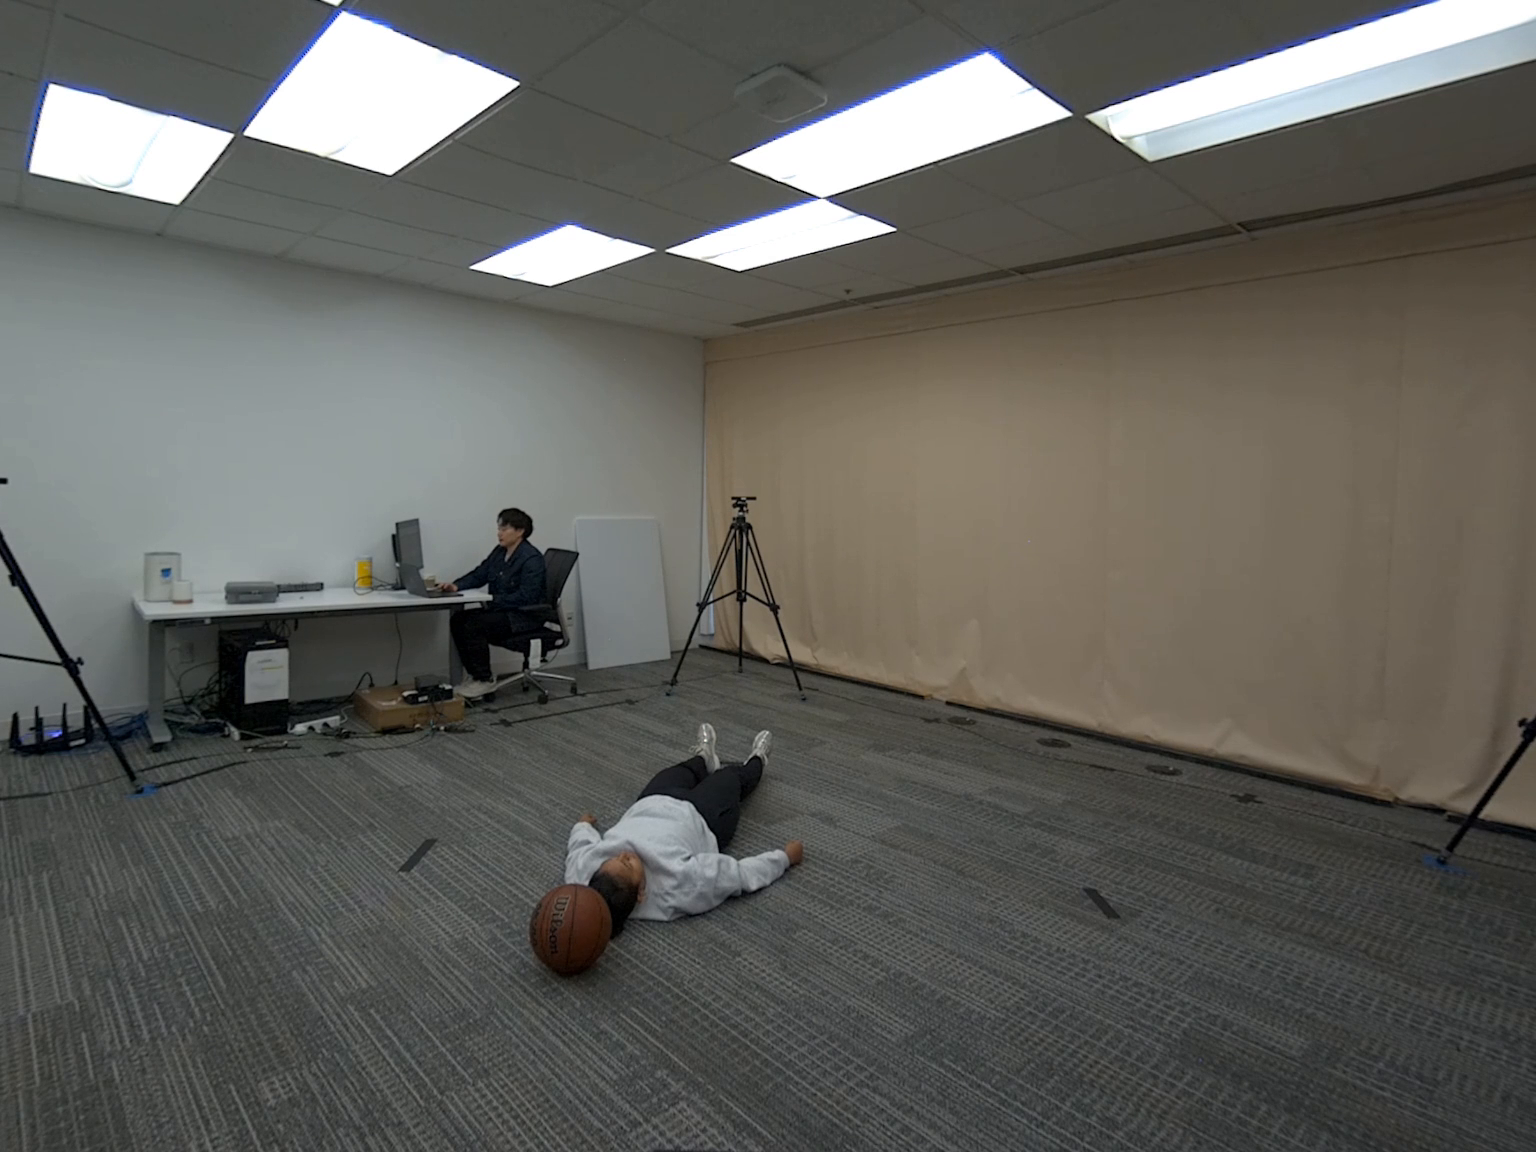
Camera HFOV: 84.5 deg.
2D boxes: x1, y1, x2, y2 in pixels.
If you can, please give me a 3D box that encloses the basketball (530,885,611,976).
[{"bbox_3d":[-0.586,1.036,2.471,0.235,0.235,0.237,4,7,-2],"label":"basketball"}]
